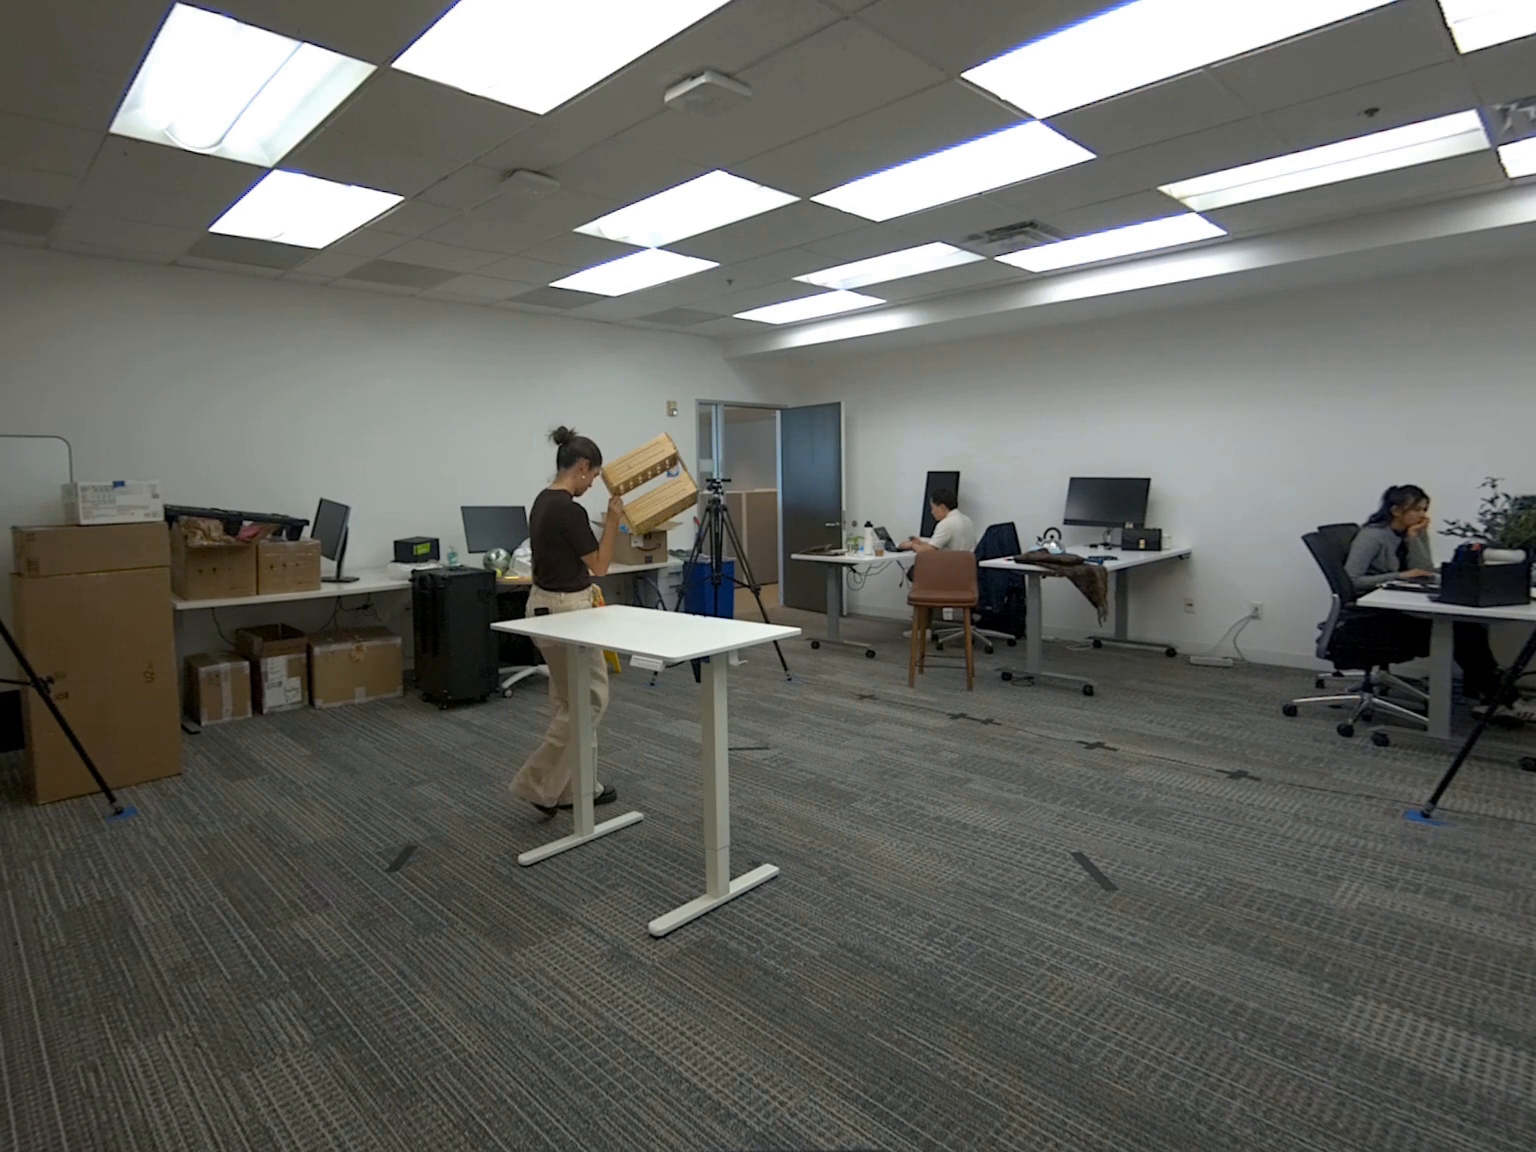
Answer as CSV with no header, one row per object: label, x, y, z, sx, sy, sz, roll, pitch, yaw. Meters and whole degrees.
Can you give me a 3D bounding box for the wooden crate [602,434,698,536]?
wooden crate,-0.481,-0.366,3.503,0.323,0.276,0.300,-30,-8,-10
